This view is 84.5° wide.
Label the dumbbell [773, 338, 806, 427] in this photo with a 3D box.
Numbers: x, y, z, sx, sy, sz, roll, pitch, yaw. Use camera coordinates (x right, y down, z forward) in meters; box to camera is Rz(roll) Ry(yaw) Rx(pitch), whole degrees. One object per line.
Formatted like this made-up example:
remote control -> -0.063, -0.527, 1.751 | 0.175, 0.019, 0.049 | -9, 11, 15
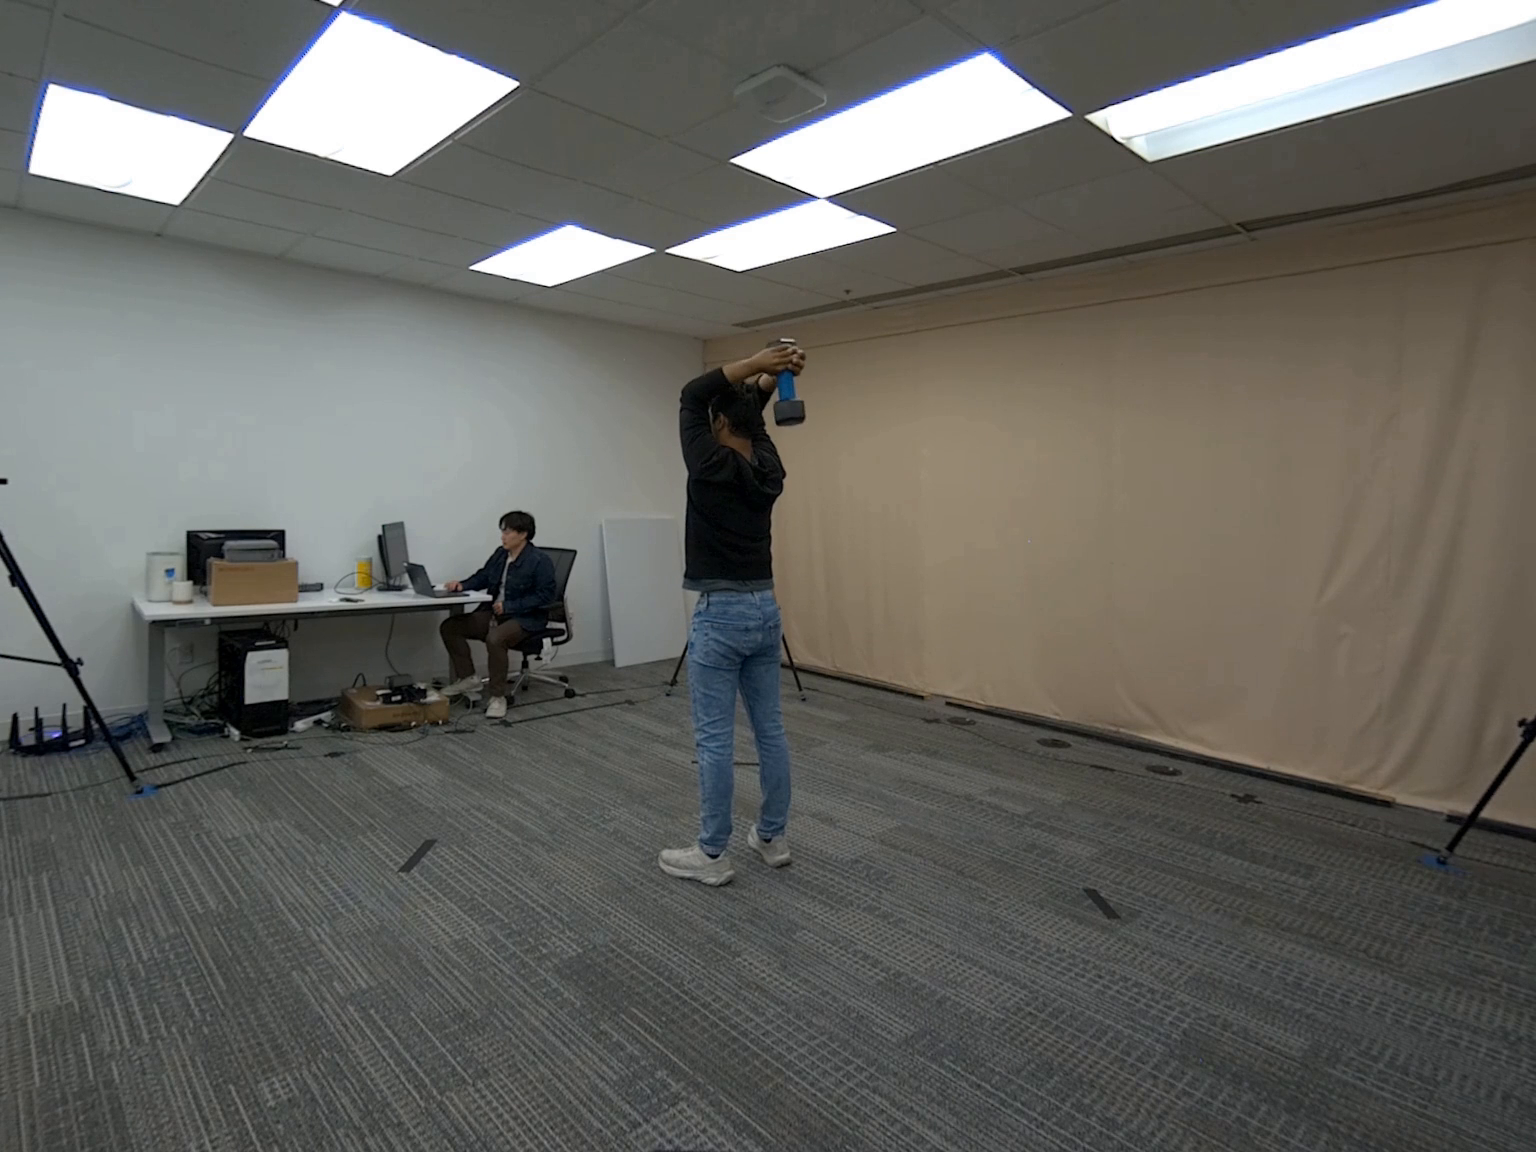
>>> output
dumbbell -> 0.052, -0.682, 2.975 | 0.121, 0.294, 0.110 | -8, -1, -31
